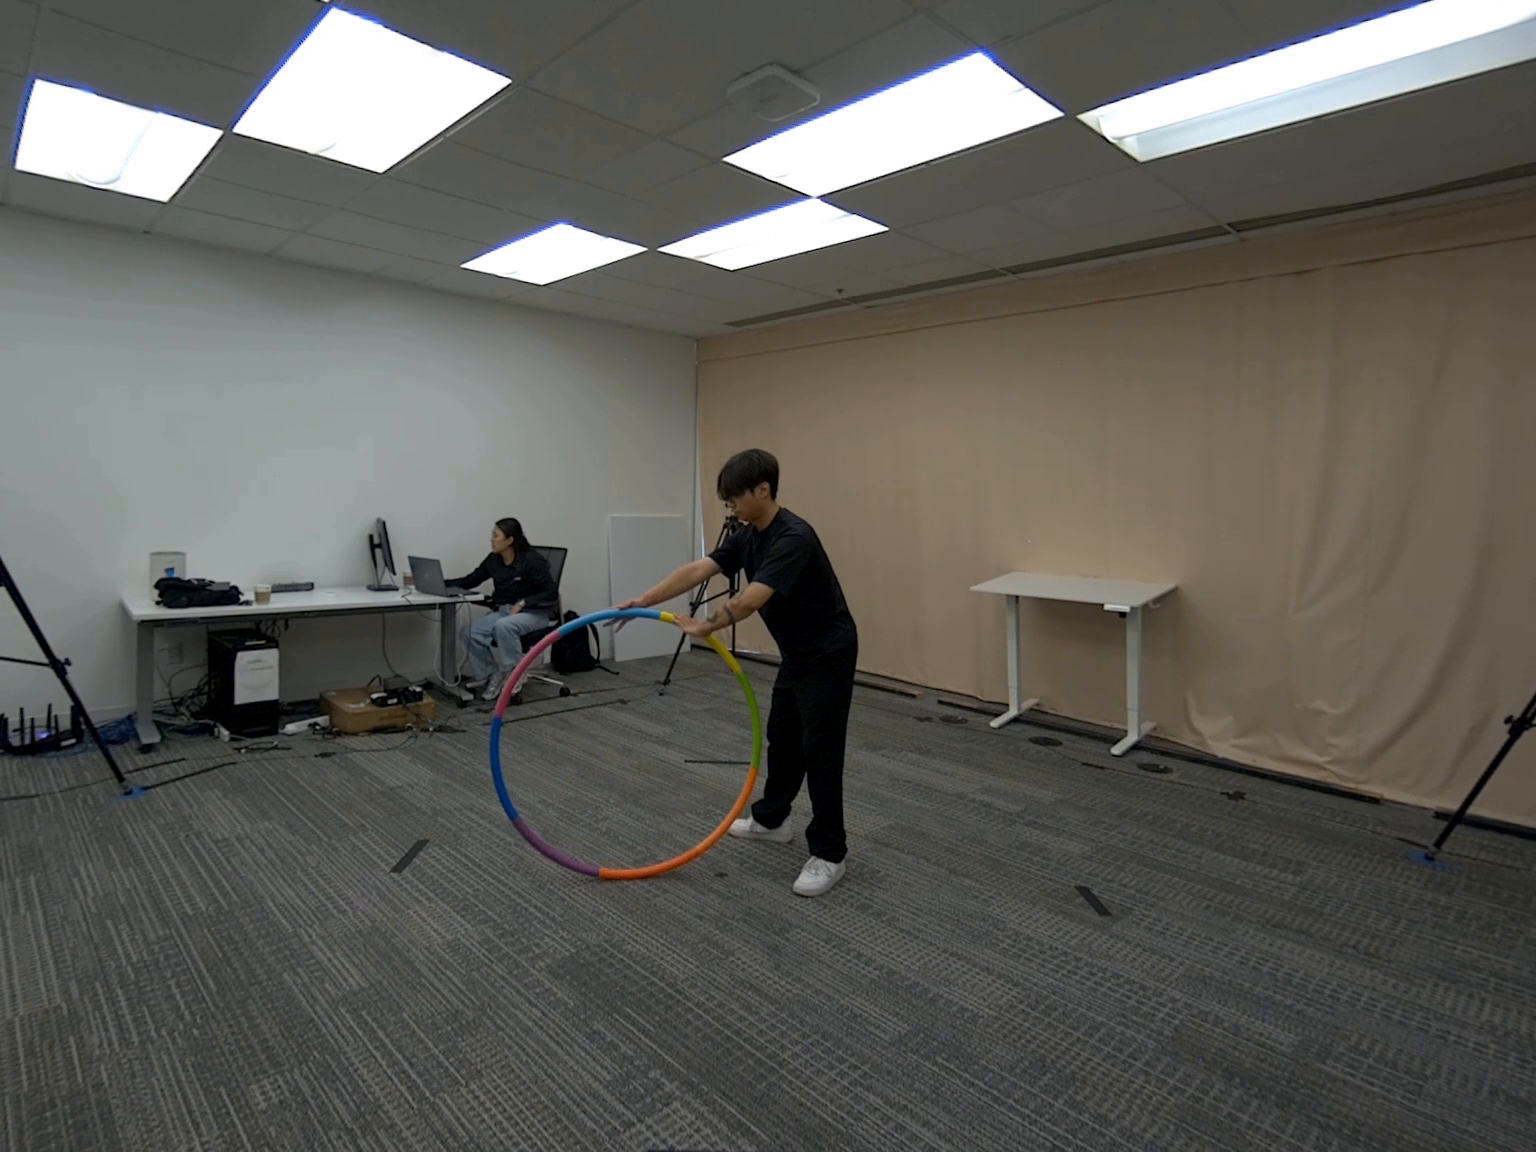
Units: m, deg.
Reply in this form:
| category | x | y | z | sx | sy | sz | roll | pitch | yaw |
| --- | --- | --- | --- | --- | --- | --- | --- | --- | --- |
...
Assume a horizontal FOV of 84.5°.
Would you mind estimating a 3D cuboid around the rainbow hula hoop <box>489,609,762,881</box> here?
| category | x | y | z | sx | sy | sz | roll | pitch | yaw |
| --- | --- | --- | --- | --- | --- | --- | --- | --- | --- |
| rainbow hula hoop | -0.515 | 0.612 | 3.062 | 0.971 | 0.979 | 0.036 | 1 | -1 | -10 |
